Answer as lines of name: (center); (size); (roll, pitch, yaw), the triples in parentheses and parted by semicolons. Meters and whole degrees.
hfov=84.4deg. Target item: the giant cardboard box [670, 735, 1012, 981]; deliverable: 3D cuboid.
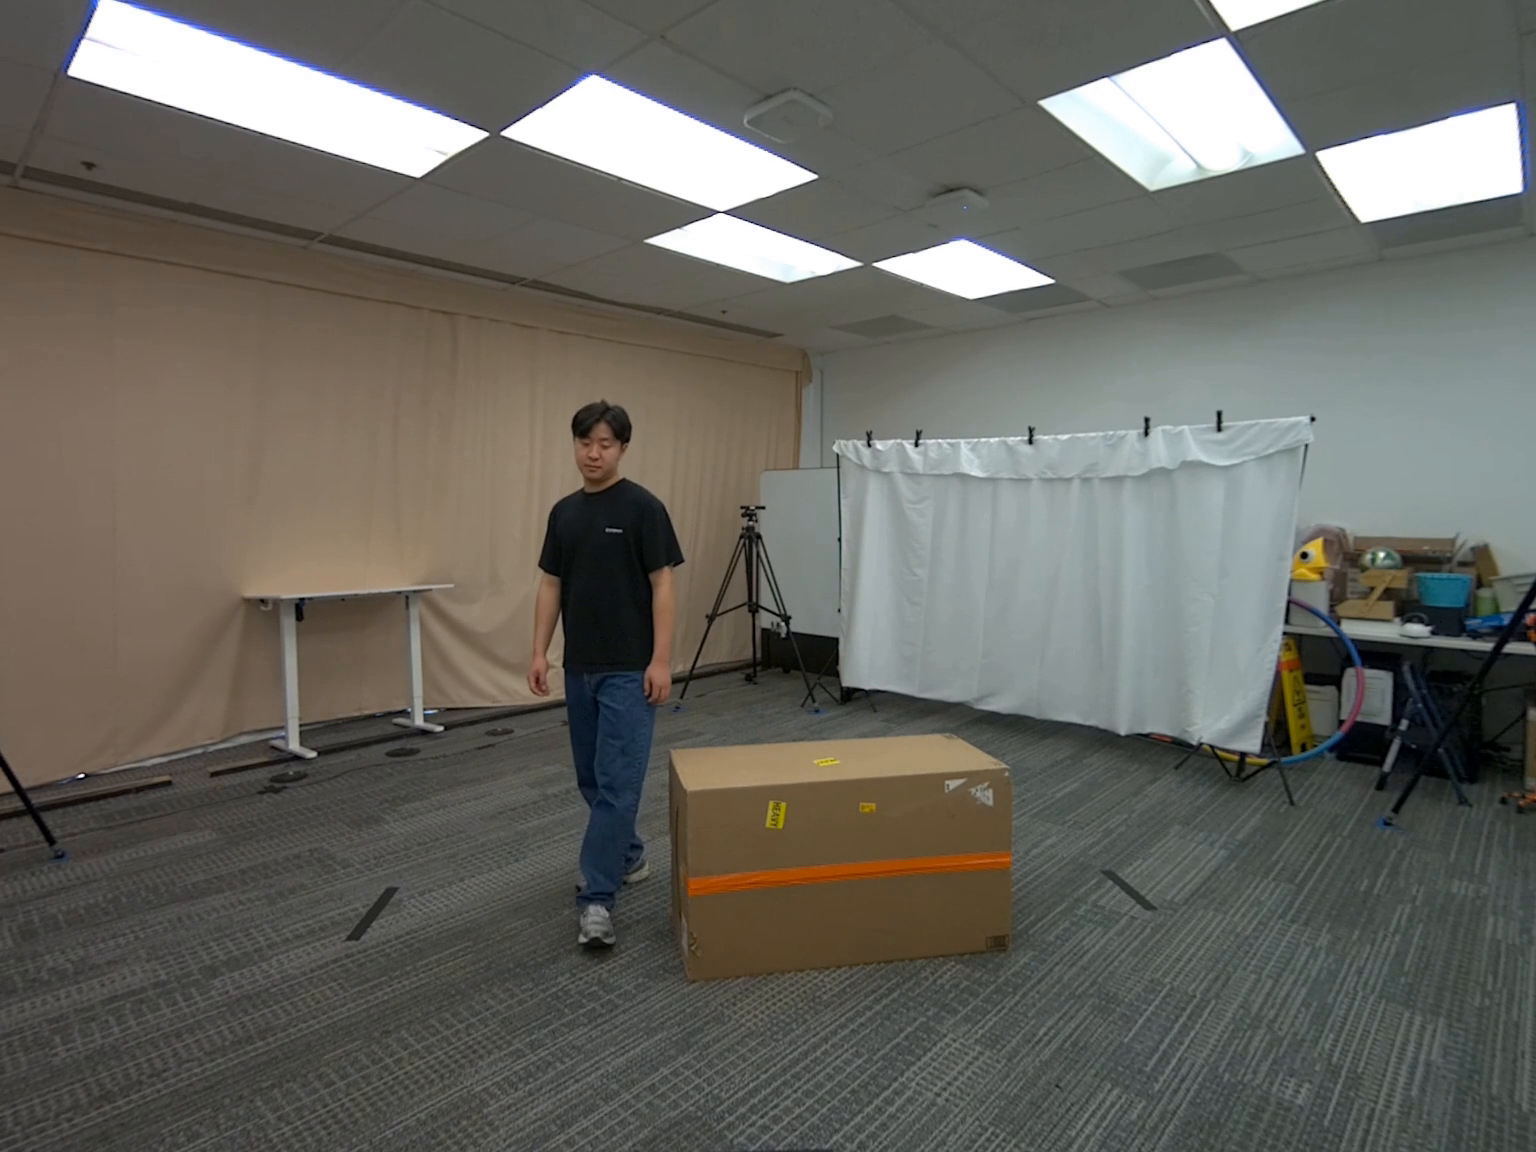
giant cardboard box: (0.217, 0.878, 2.728); (1.015, 0.582, 0.453); (-2, 5, -11)
